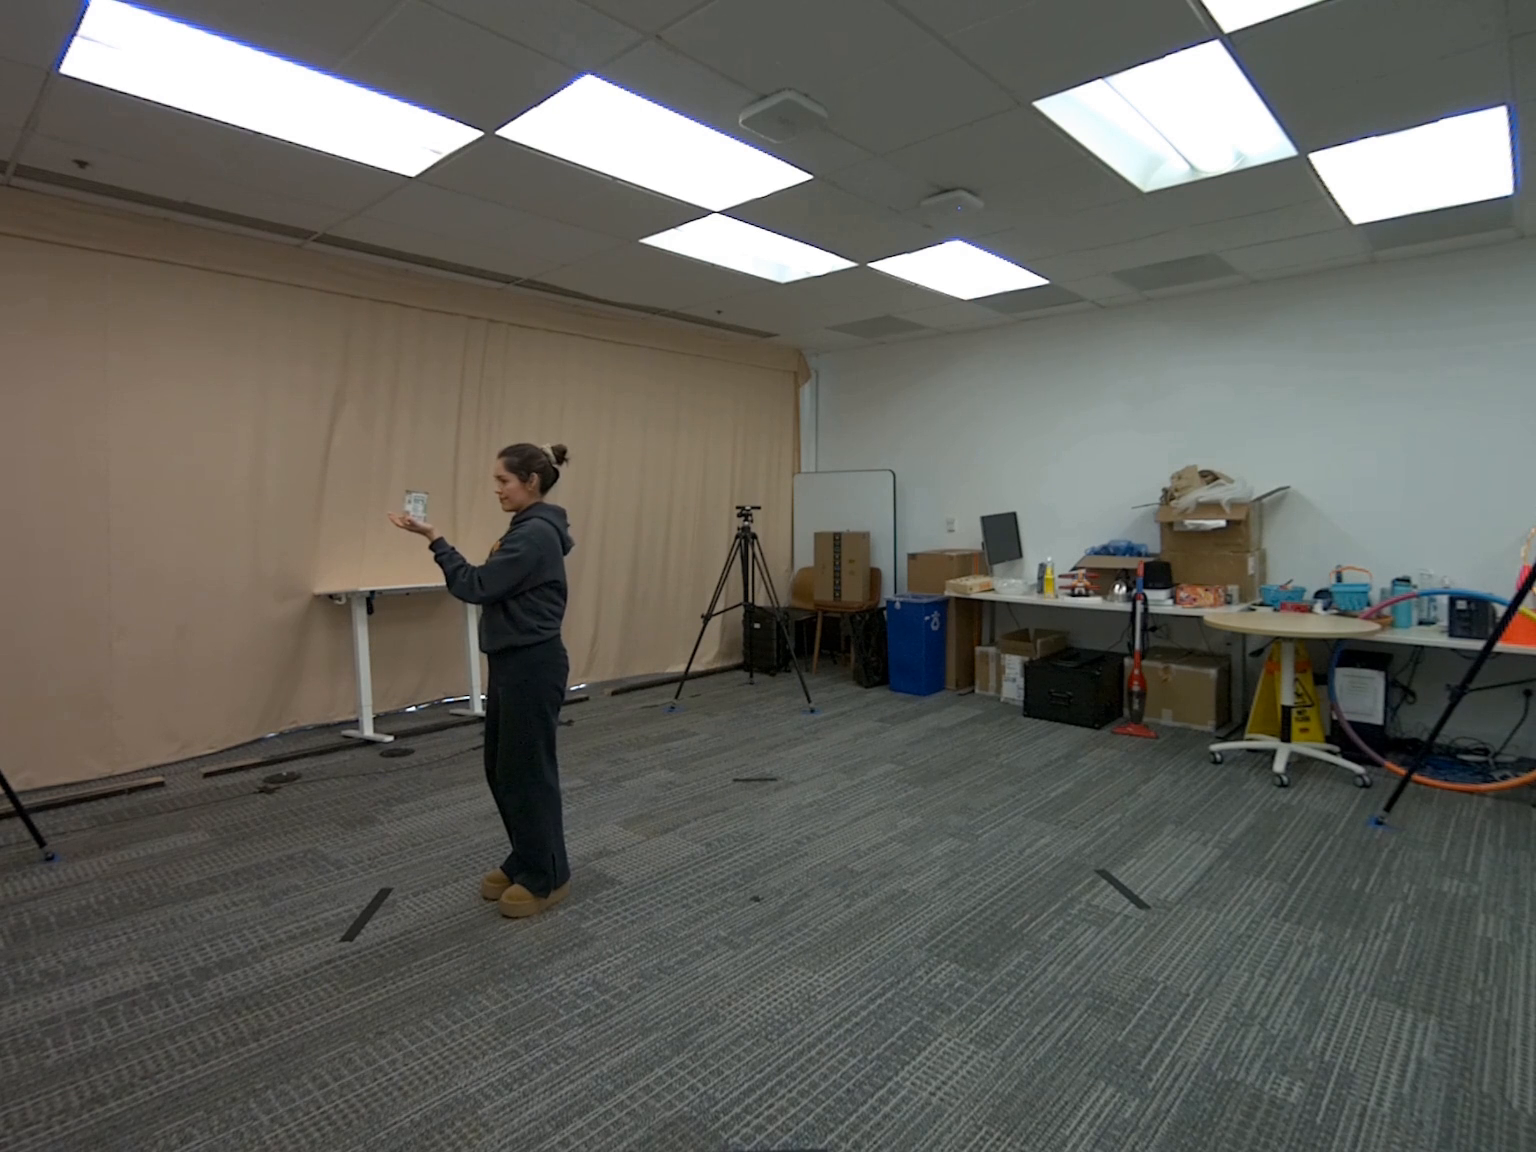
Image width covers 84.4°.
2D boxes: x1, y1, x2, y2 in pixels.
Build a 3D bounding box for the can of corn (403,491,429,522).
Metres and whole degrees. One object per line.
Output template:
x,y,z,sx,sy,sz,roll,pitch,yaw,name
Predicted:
-1.171,-0.216,2.799,0.074,0.111,0.074,8,2,-2,can of corn
